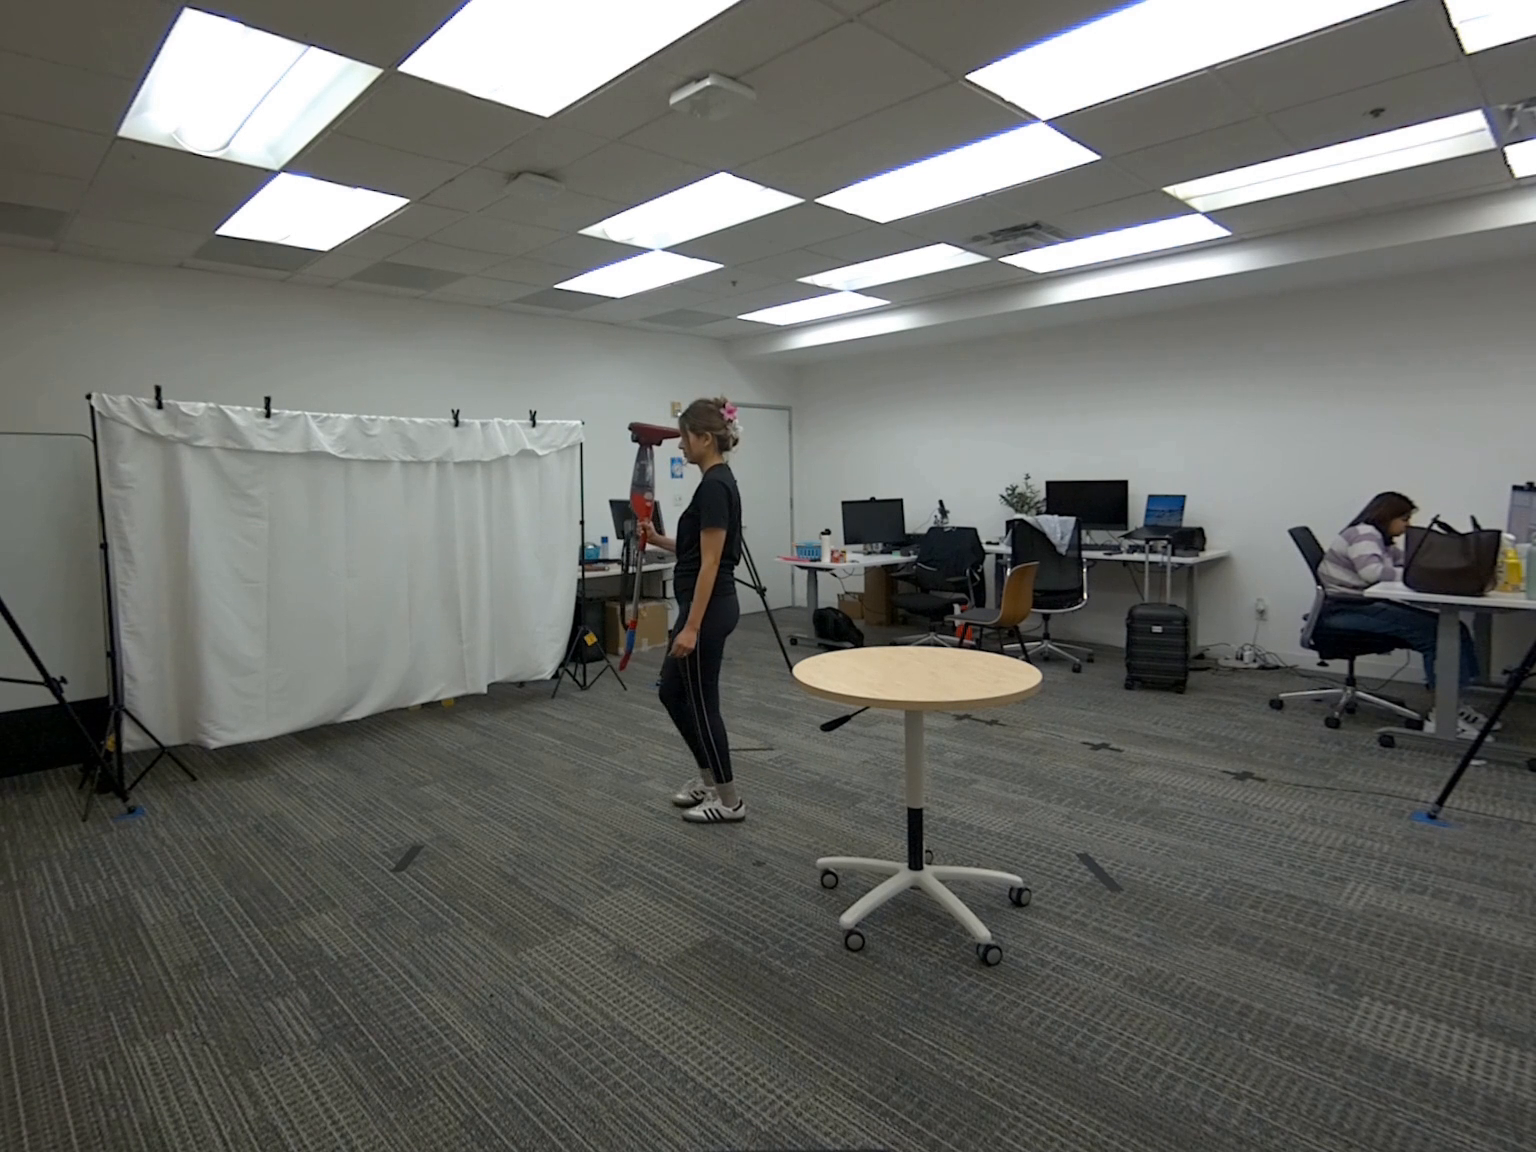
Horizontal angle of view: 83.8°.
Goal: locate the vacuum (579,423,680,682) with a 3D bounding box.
[{"bbox_3d":[-0.575,-0.112,3.716,0.245,1.046,0.148,5,4,-33],"label":"vacuum"}]
